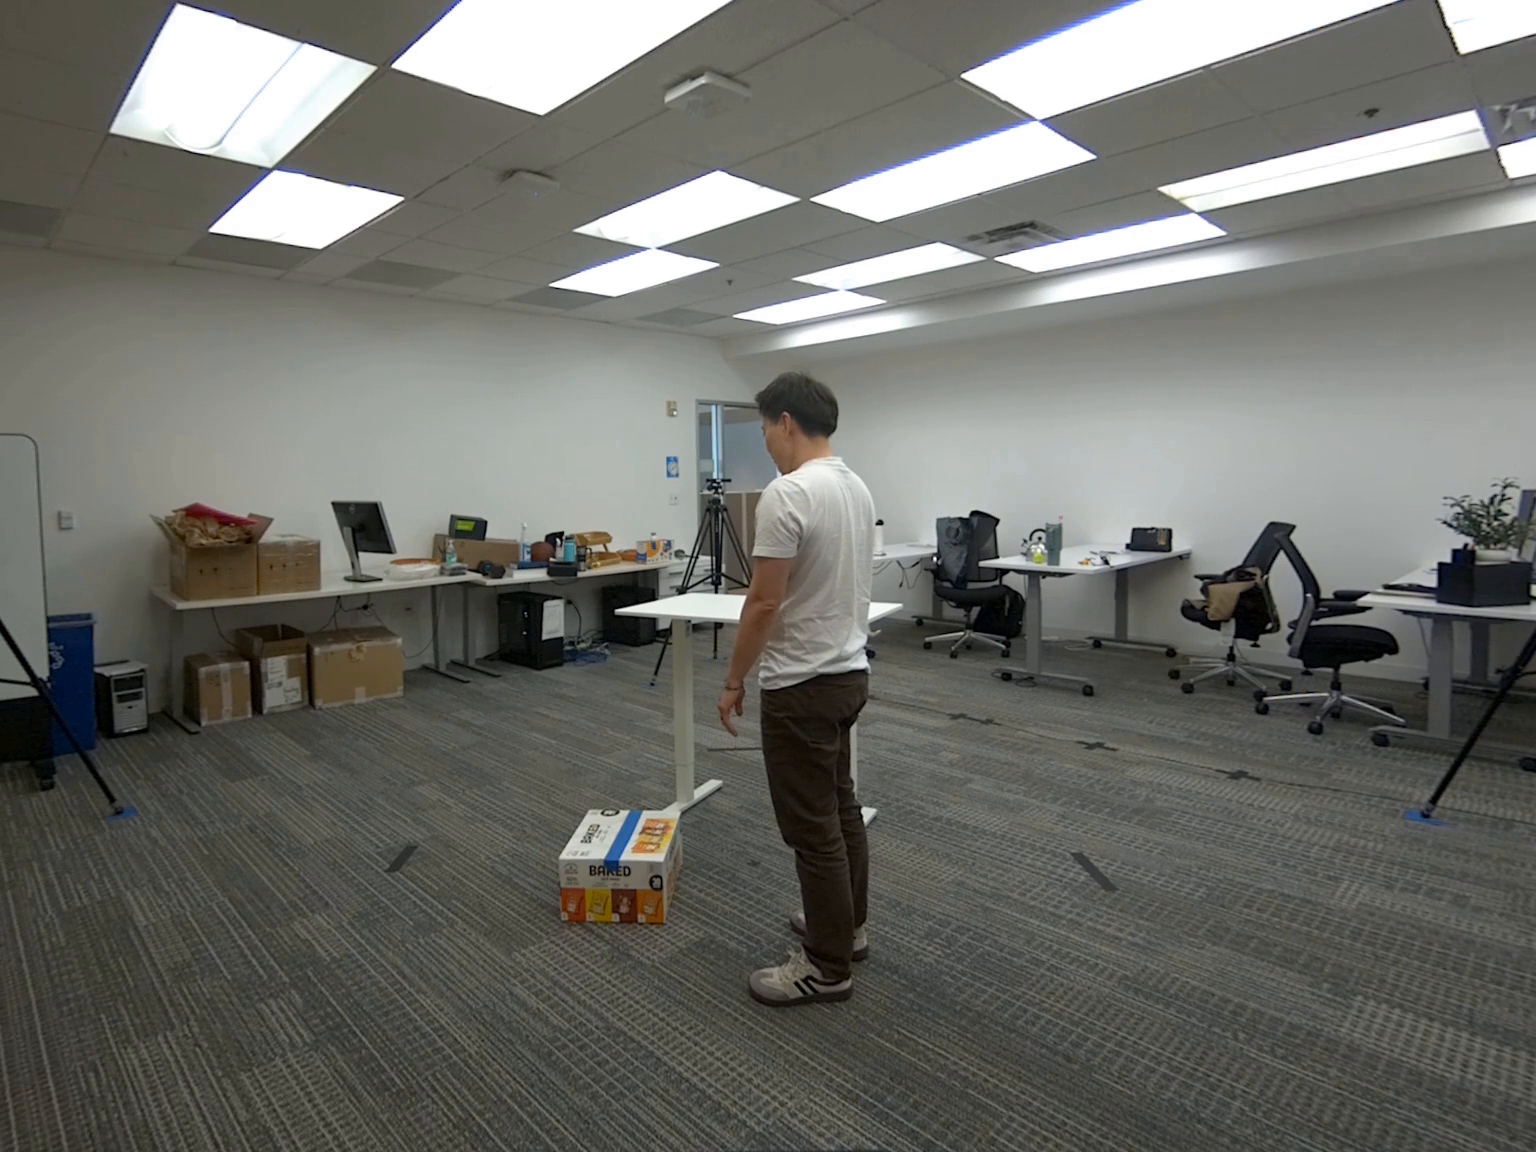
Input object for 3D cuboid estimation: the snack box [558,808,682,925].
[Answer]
[{"bbox_3d":[-0.488,0.973,2.901,0.342,0.205,0.405,0,6,4],"label":"snack box"}]
